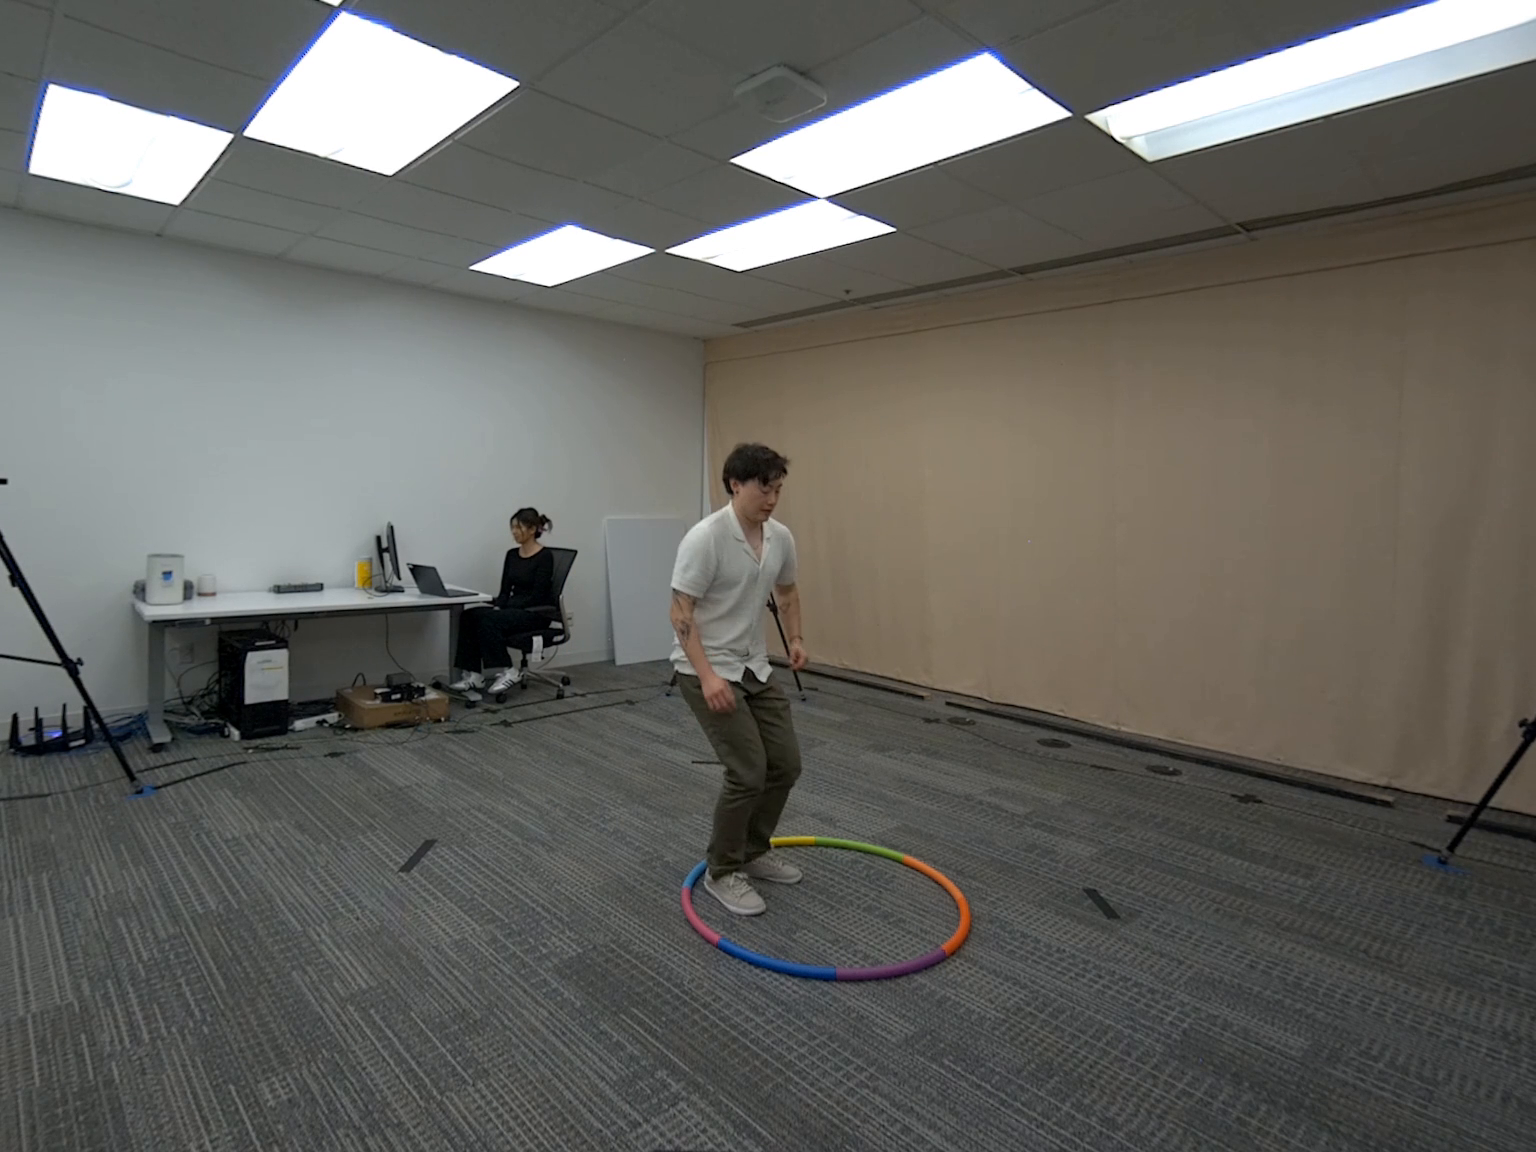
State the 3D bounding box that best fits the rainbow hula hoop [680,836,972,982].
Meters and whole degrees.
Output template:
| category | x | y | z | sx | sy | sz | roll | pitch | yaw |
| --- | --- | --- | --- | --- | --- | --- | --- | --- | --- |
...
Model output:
| category | x | y | z | sx | sy | sz | roll | pitch | yaw |
| --- | --- | --- | --- | --- | --- | --- | --- | --- | --- |
| rainbow hula hoop | 0.180 | 1.102 | 2.924 | 0.978 | 0.035 | 0.982 | 1 | 6 | -1 |
